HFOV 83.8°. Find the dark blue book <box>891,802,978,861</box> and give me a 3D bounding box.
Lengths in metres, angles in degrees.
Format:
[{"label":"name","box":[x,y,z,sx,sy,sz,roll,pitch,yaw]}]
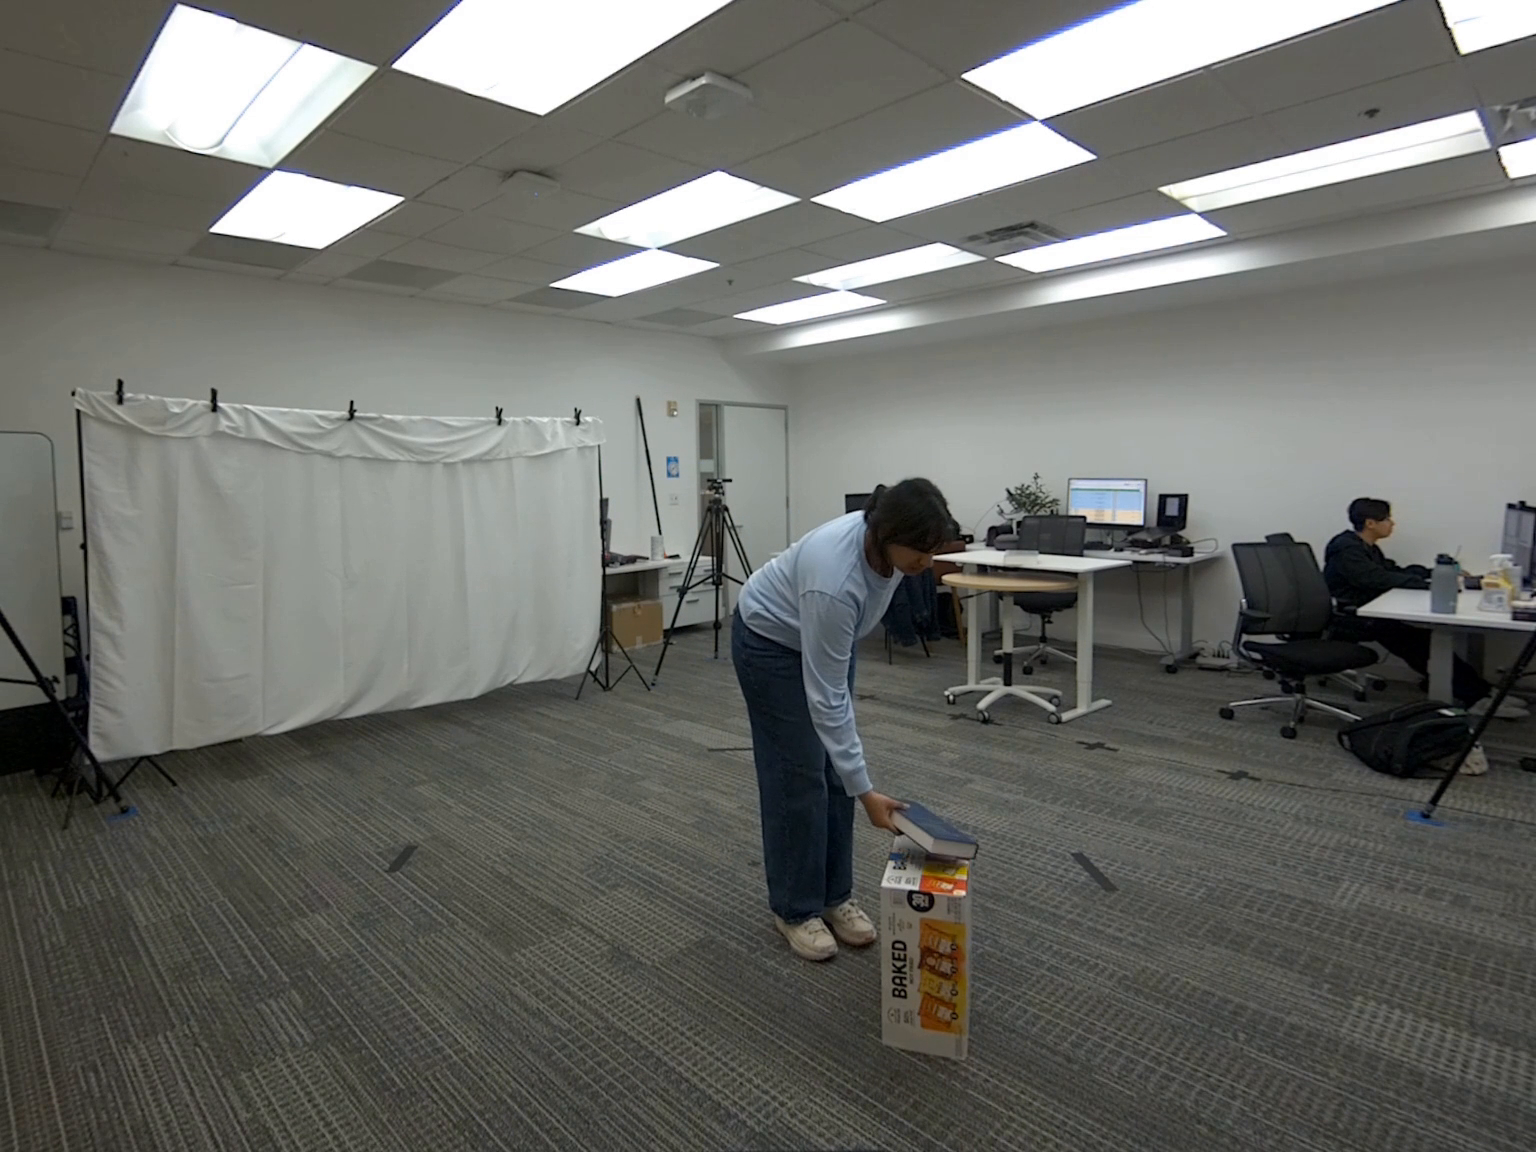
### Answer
[{"label":"dark blue book","box":[0.420,0.653,2.235,0.158,0.045,0.253,17,3,-30]}]
